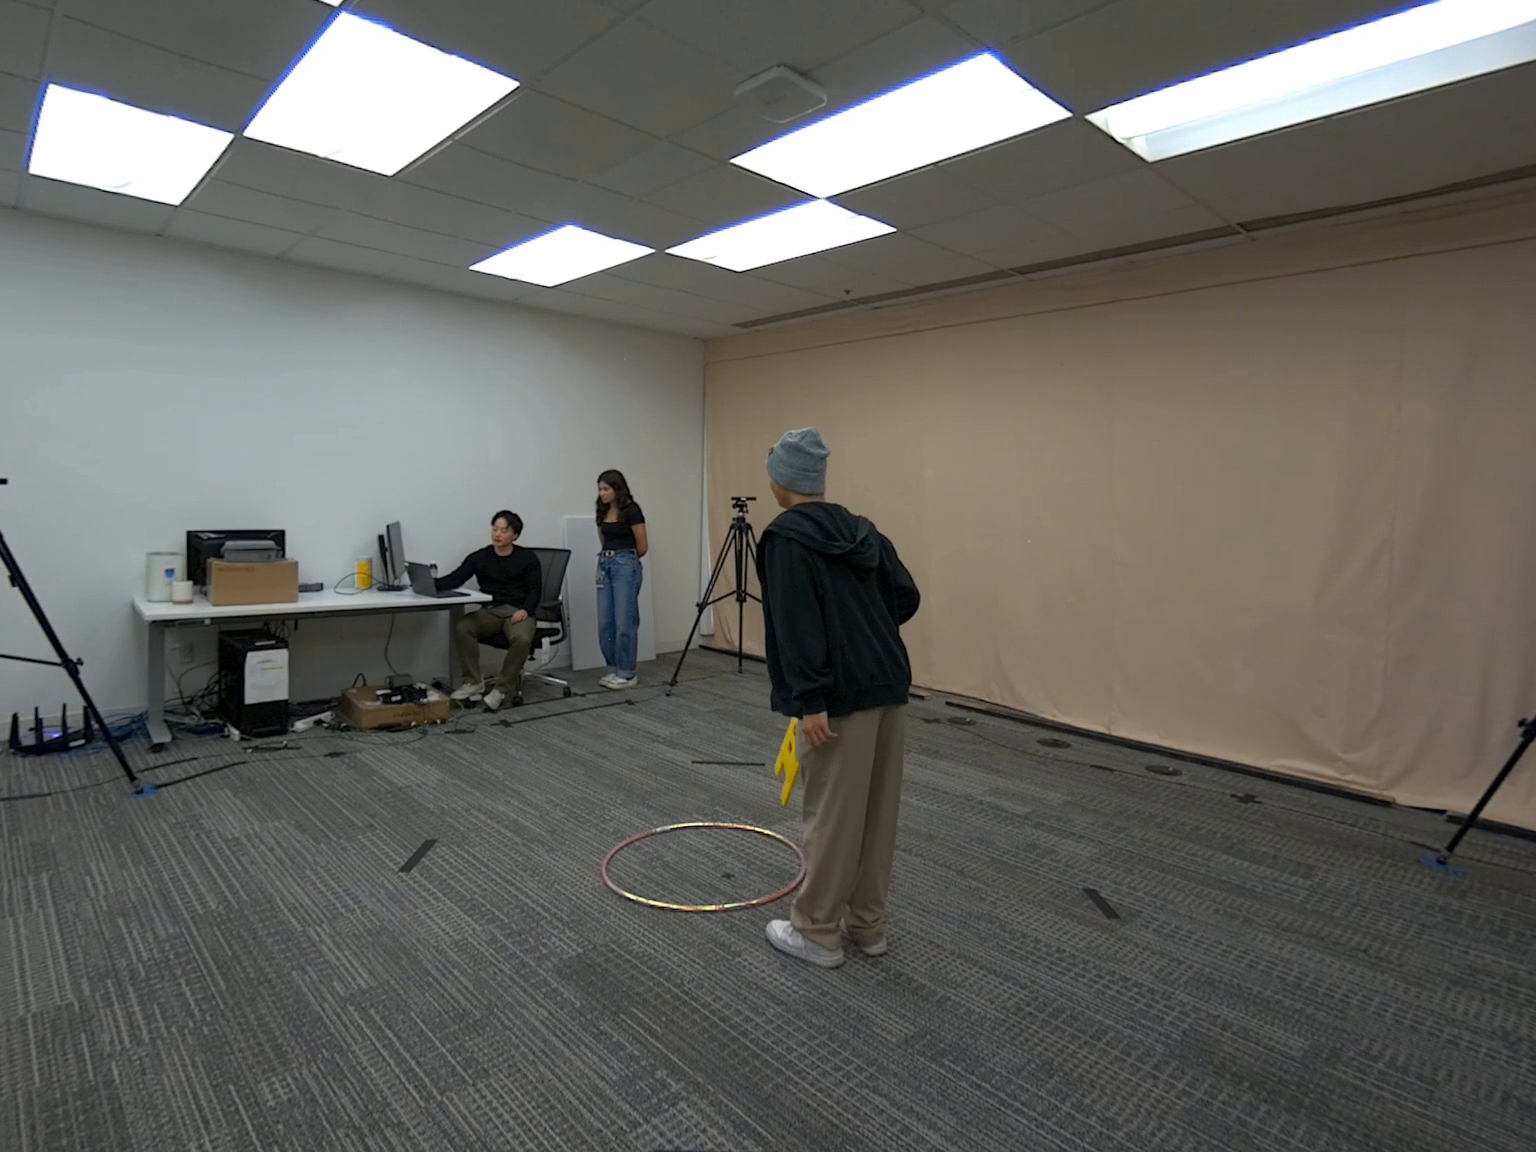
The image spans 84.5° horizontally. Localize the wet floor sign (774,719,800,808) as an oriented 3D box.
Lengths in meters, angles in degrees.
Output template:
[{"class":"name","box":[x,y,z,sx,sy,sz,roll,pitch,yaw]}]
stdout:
[{"class":"wet floor sign","box":[0.199,0.467,2.992,0.288,0.642,0.285,6,10,-5]}]
